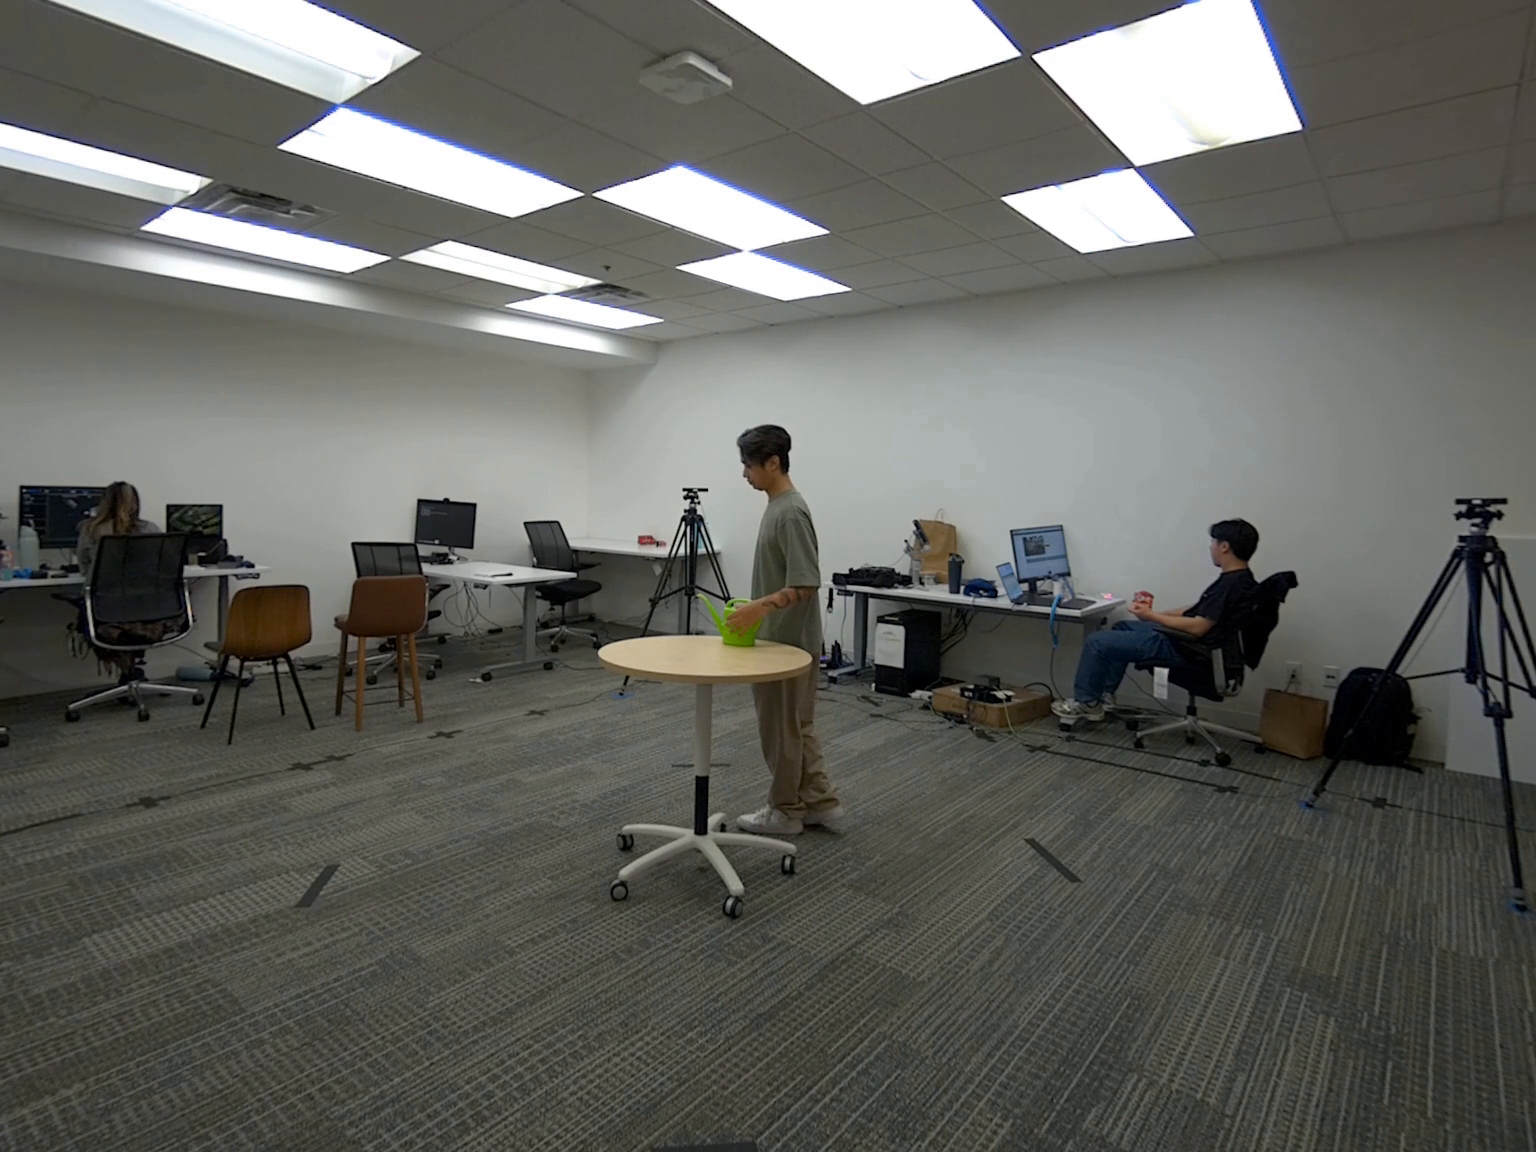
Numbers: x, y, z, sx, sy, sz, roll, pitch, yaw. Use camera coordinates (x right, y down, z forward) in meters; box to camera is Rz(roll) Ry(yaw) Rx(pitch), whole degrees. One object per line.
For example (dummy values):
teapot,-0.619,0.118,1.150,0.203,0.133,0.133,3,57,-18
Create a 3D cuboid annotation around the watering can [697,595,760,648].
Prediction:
watering can,-0.153,0.170,3.297,0.288,0.176,0.095,6,3,39
